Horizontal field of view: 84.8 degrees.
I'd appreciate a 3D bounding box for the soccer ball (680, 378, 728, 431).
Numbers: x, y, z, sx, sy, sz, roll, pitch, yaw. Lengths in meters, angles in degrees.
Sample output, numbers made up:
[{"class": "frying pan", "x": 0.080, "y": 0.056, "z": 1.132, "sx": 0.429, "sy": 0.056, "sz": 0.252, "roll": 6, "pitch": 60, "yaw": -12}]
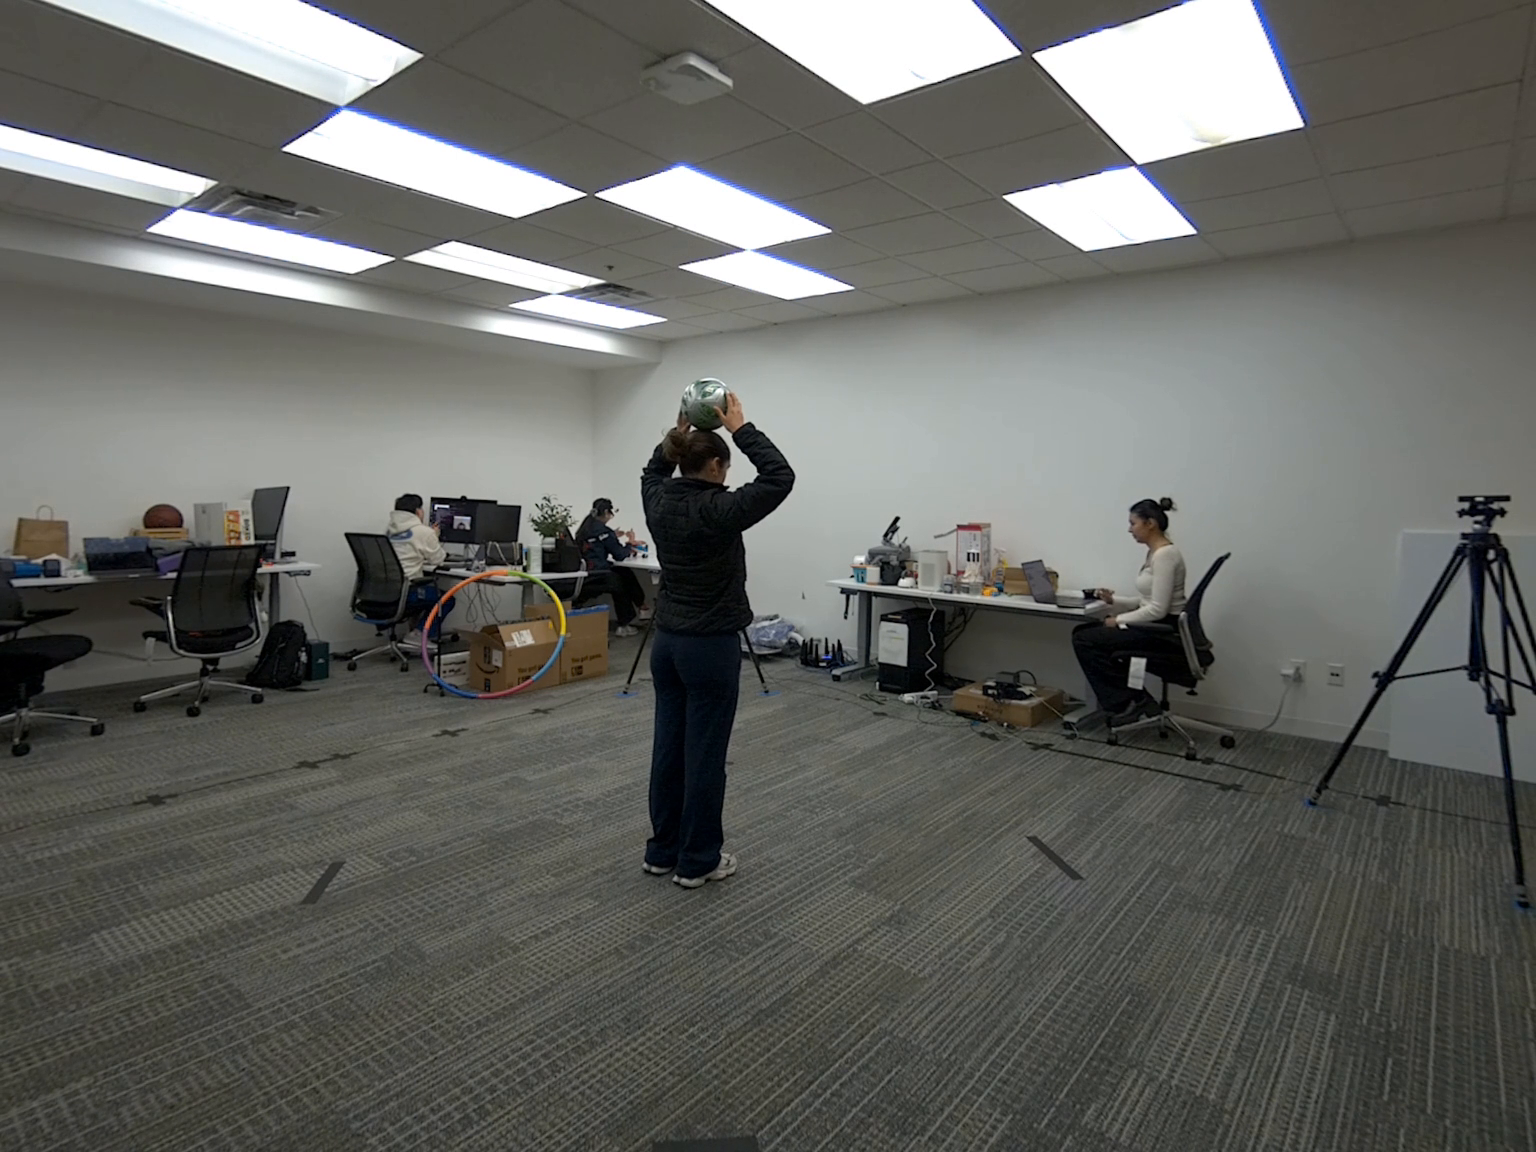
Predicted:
[{"class": "soccer ball", "x": -0.225, "y": -0.612, "z": 3.031, "sx": 0.187, "sy": 0.187, "sz": 0.188, "roll": 1, "pitch": 4, "yaw": -2}]
